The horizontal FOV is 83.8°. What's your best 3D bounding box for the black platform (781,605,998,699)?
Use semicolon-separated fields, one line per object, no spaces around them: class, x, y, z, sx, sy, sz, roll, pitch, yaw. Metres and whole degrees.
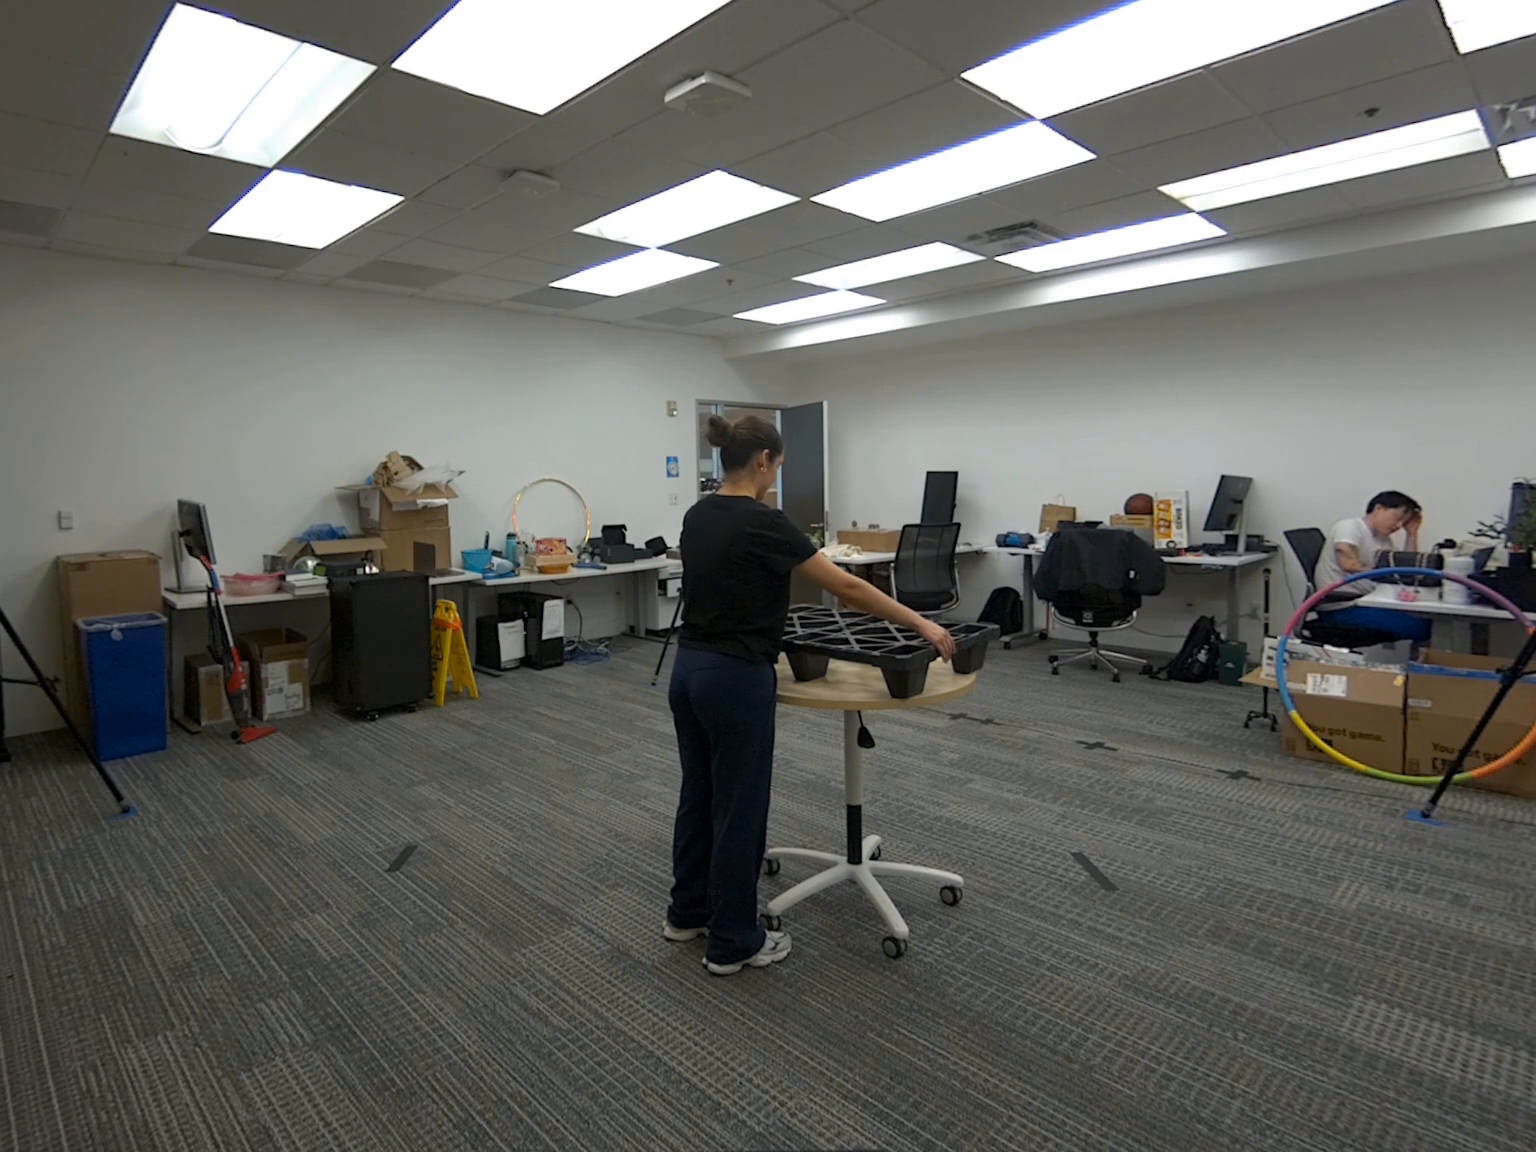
black platform;0.255;0.228;2.793;0.830;0.142;0.590;4;9;41
